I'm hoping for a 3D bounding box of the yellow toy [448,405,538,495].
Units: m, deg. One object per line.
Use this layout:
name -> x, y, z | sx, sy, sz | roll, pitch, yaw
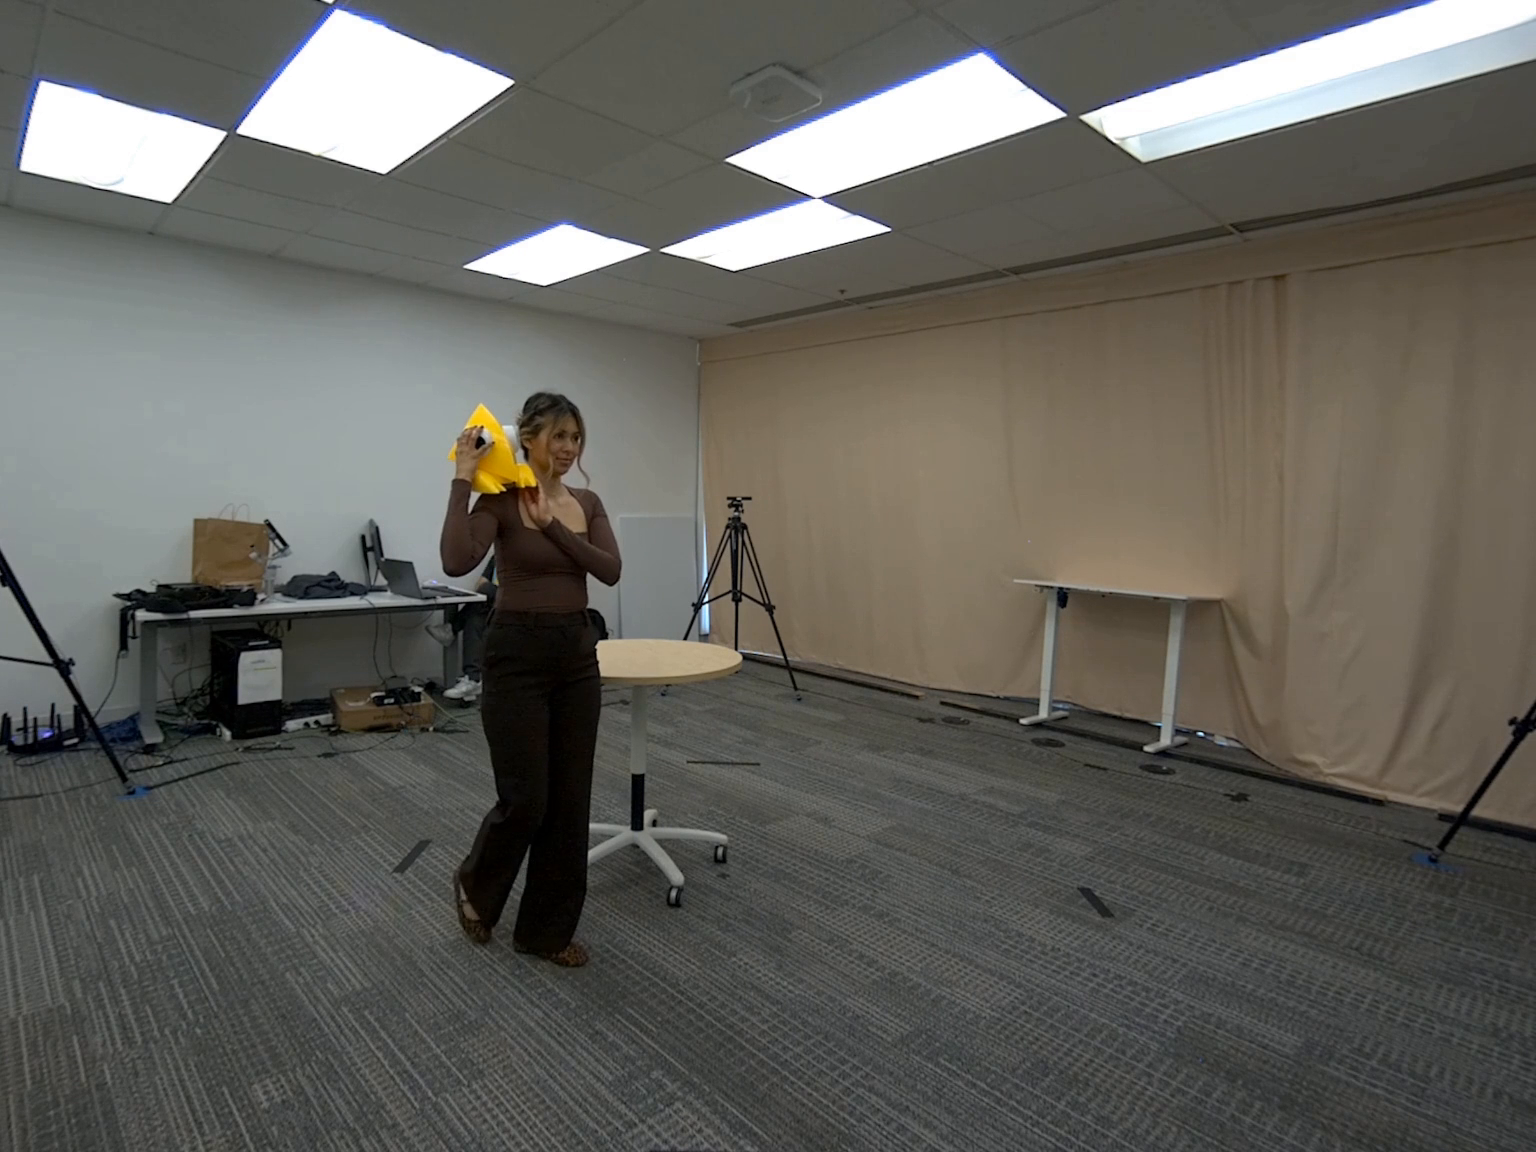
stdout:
yellow toy -> -0.790, -0.372, 2.404 | 0.198, 0.228, 0.202 | 14, 21, 35
